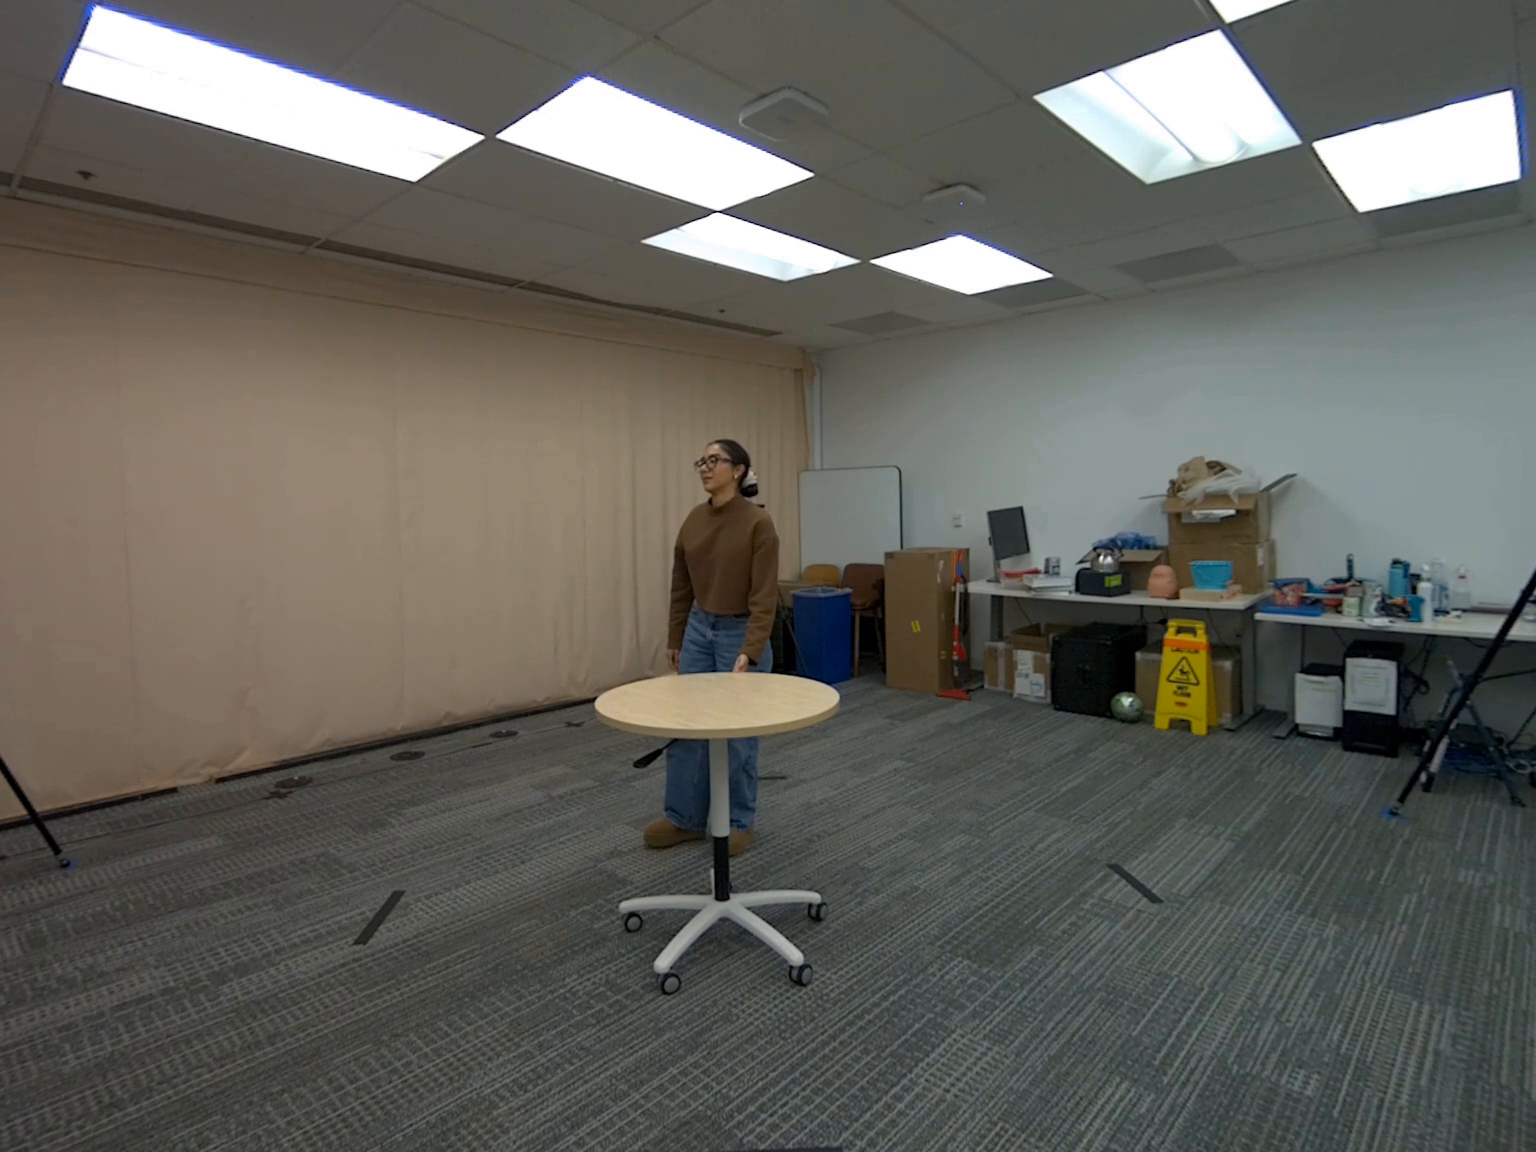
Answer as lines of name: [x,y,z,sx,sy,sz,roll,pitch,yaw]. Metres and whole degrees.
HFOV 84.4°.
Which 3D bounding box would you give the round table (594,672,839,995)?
round table: [-0.149,0.778,2.671,0.763,0.792,0.767,-2,4,-2]
